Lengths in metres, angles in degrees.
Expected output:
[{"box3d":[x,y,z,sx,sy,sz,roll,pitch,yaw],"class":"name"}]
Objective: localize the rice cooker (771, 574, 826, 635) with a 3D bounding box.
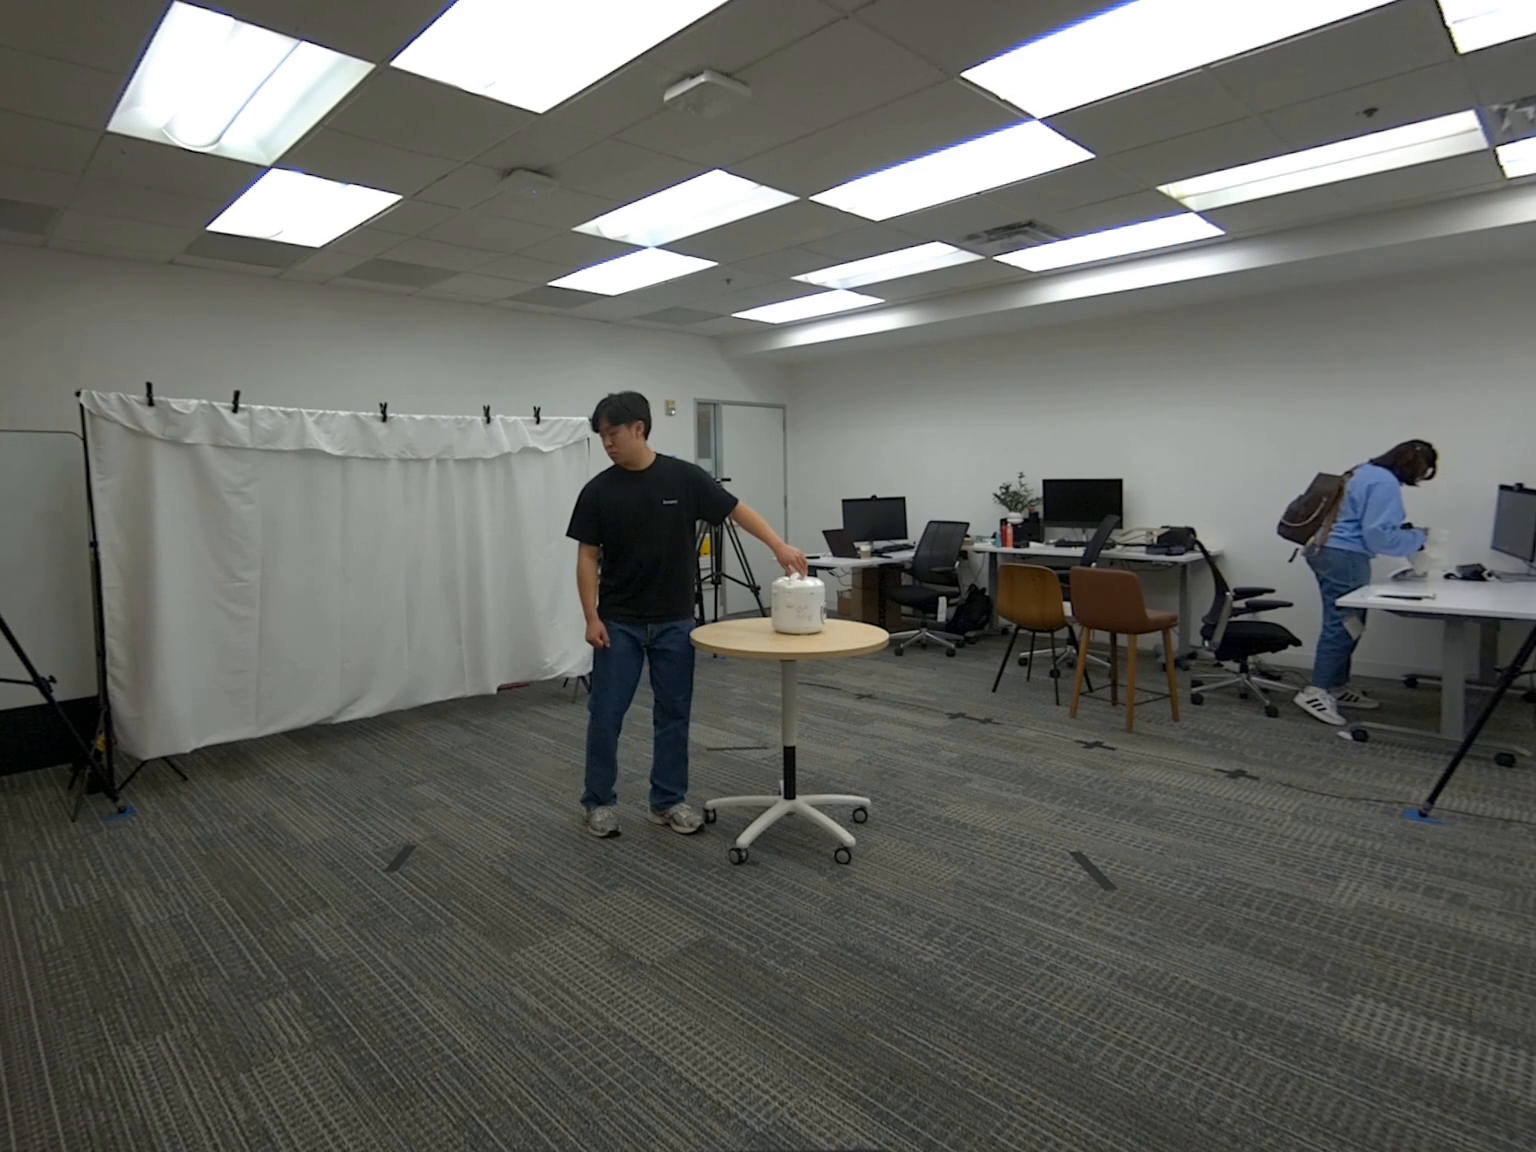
[{"box3d":[0.123,0.099,3.345,0.222,0.232,0.216,0,5,24],"class":"rice cooker"}]
